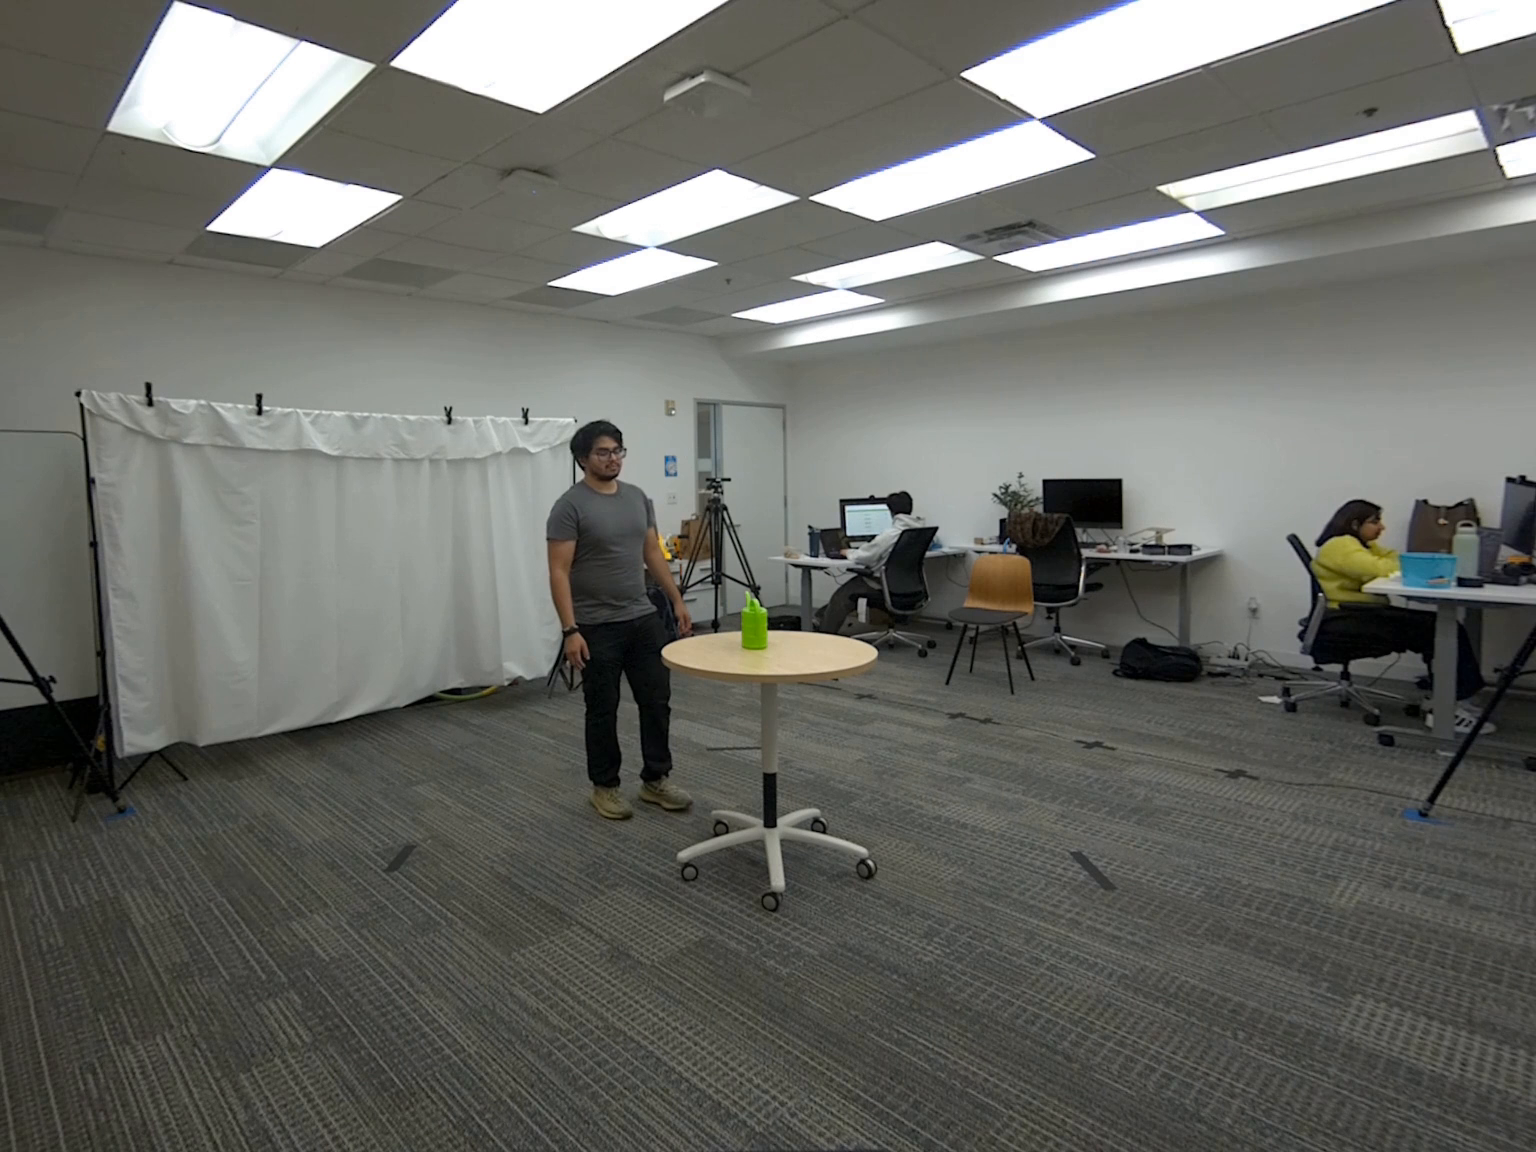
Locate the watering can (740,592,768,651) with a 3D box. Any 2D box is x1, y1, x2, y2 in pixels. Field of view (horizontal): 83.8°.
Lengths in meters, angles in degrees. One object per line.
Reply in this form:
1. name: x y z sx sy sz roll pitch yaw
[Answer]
1. watering can: -0.044 0.171 3.156 0.098 0.176 0.279 0 6 0
